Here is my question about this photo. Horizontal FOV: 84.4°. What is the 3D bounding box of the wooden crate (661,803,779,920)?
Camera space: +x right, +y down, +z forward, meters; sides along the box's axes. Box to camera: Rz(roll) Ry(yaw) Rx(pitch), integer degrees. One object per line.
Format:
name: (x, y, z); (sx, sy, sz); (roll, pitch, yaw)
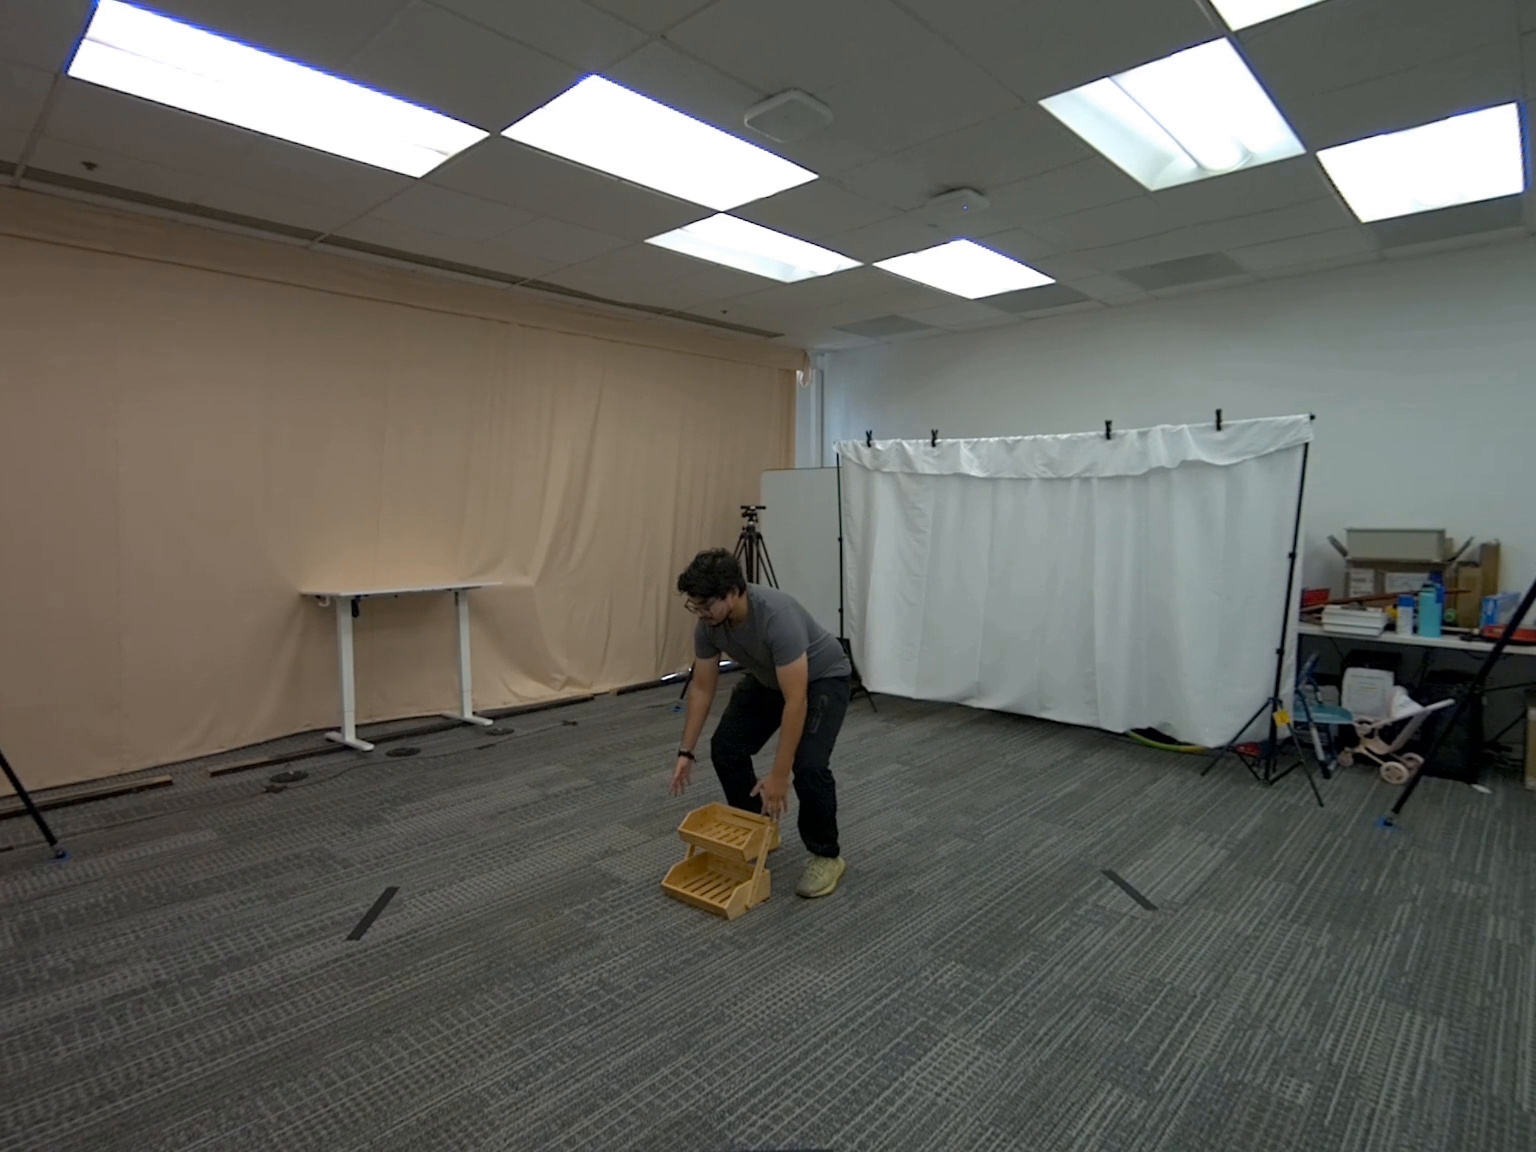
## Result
wooden crate: (-0.170, 1.003, 3.019); (0.335, 0.273, 0.293); (2, 4, 38)
